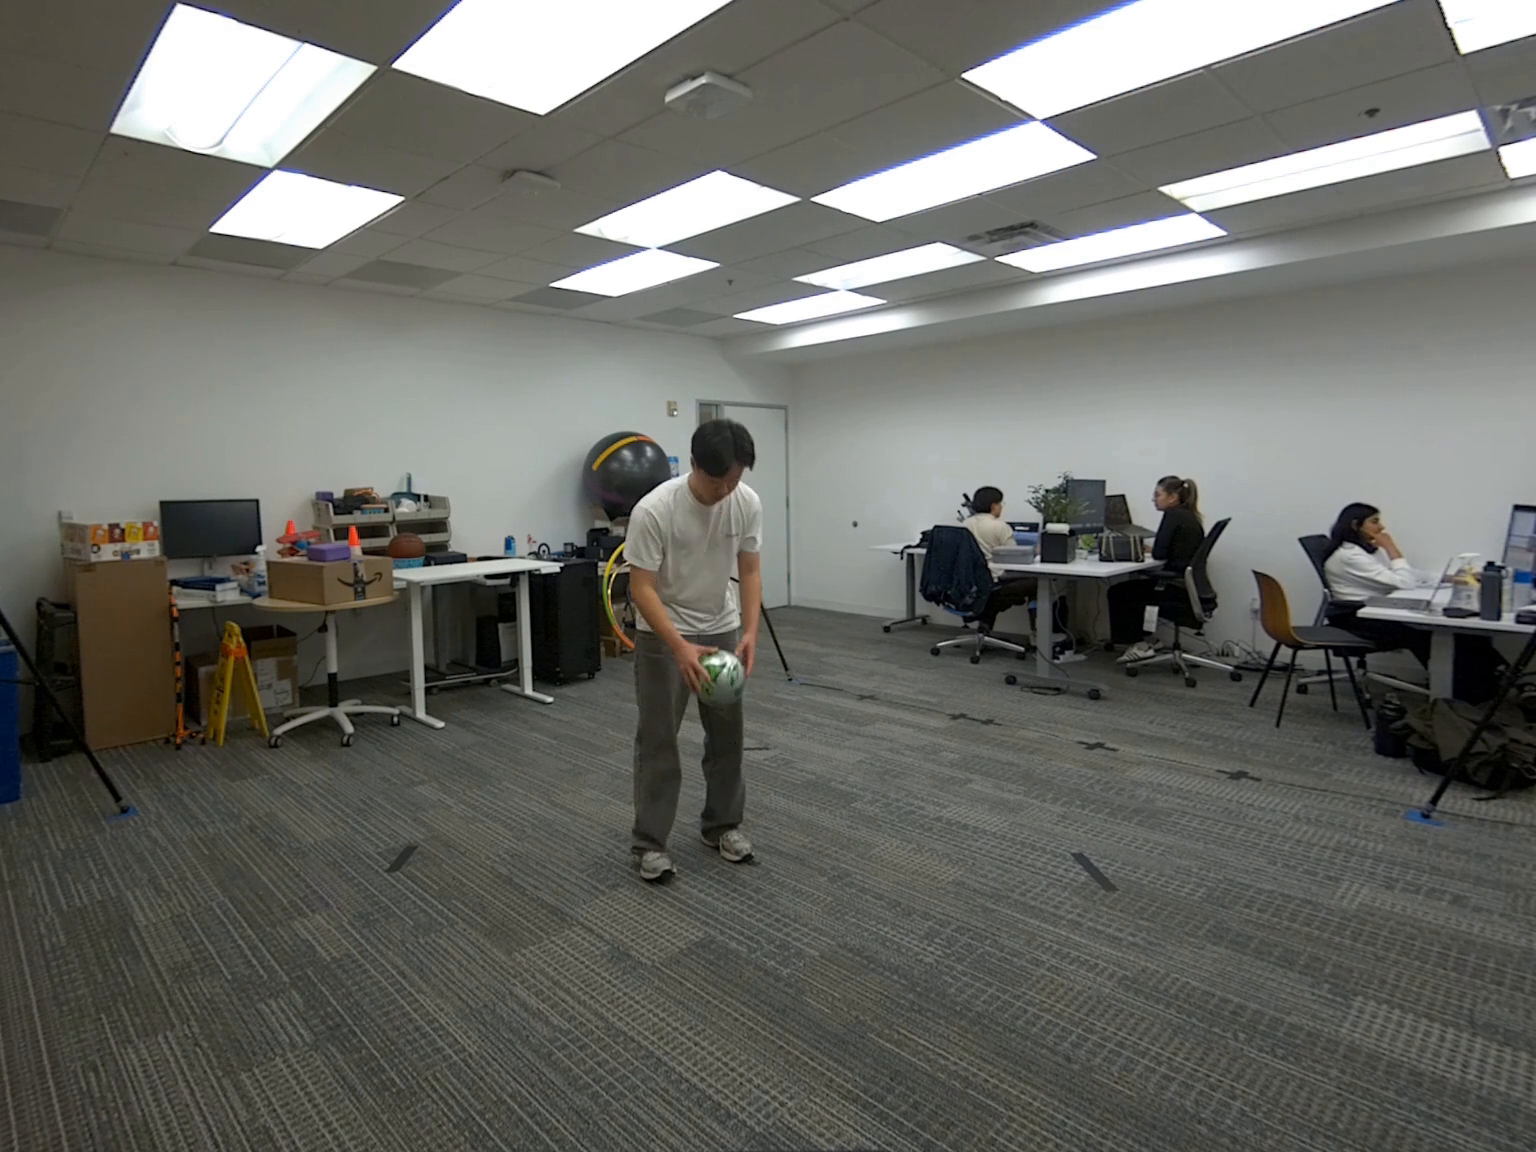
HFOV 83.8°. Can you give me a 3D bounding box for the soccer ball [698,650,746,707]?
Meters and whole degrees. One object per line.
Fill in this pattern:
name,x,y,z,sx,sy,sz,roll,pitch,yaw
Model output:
soccer ball,-0.169,0.344,2.898,0.187,0.187,0.188,-1,5,-2
